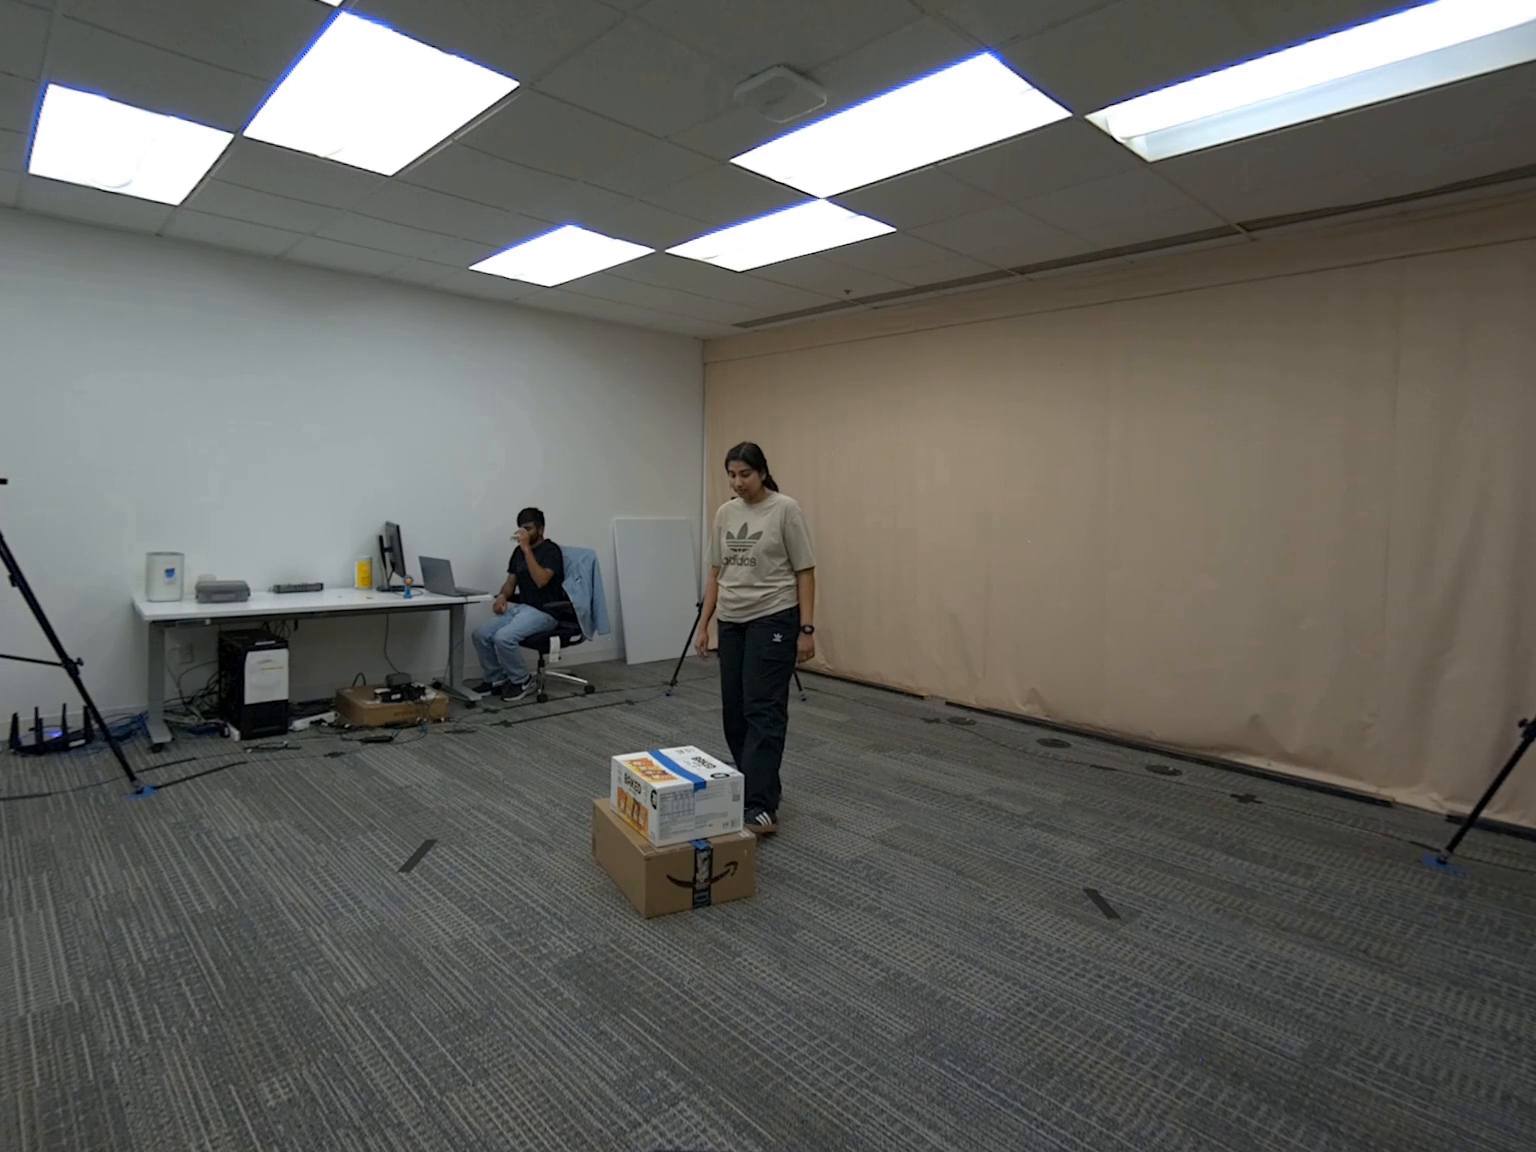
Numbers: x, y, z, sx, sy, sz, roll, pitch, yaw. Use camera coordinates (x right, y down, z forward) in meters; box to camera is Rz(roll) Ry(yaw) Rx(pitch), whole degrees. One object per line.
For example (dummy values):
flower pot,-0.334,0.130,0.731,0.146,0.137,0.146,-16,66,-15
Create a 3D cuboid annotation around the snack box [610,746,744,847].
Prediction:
snack box,-0.342,0.795,3.062,0.333,0.205,0.415,-2,6,-31
